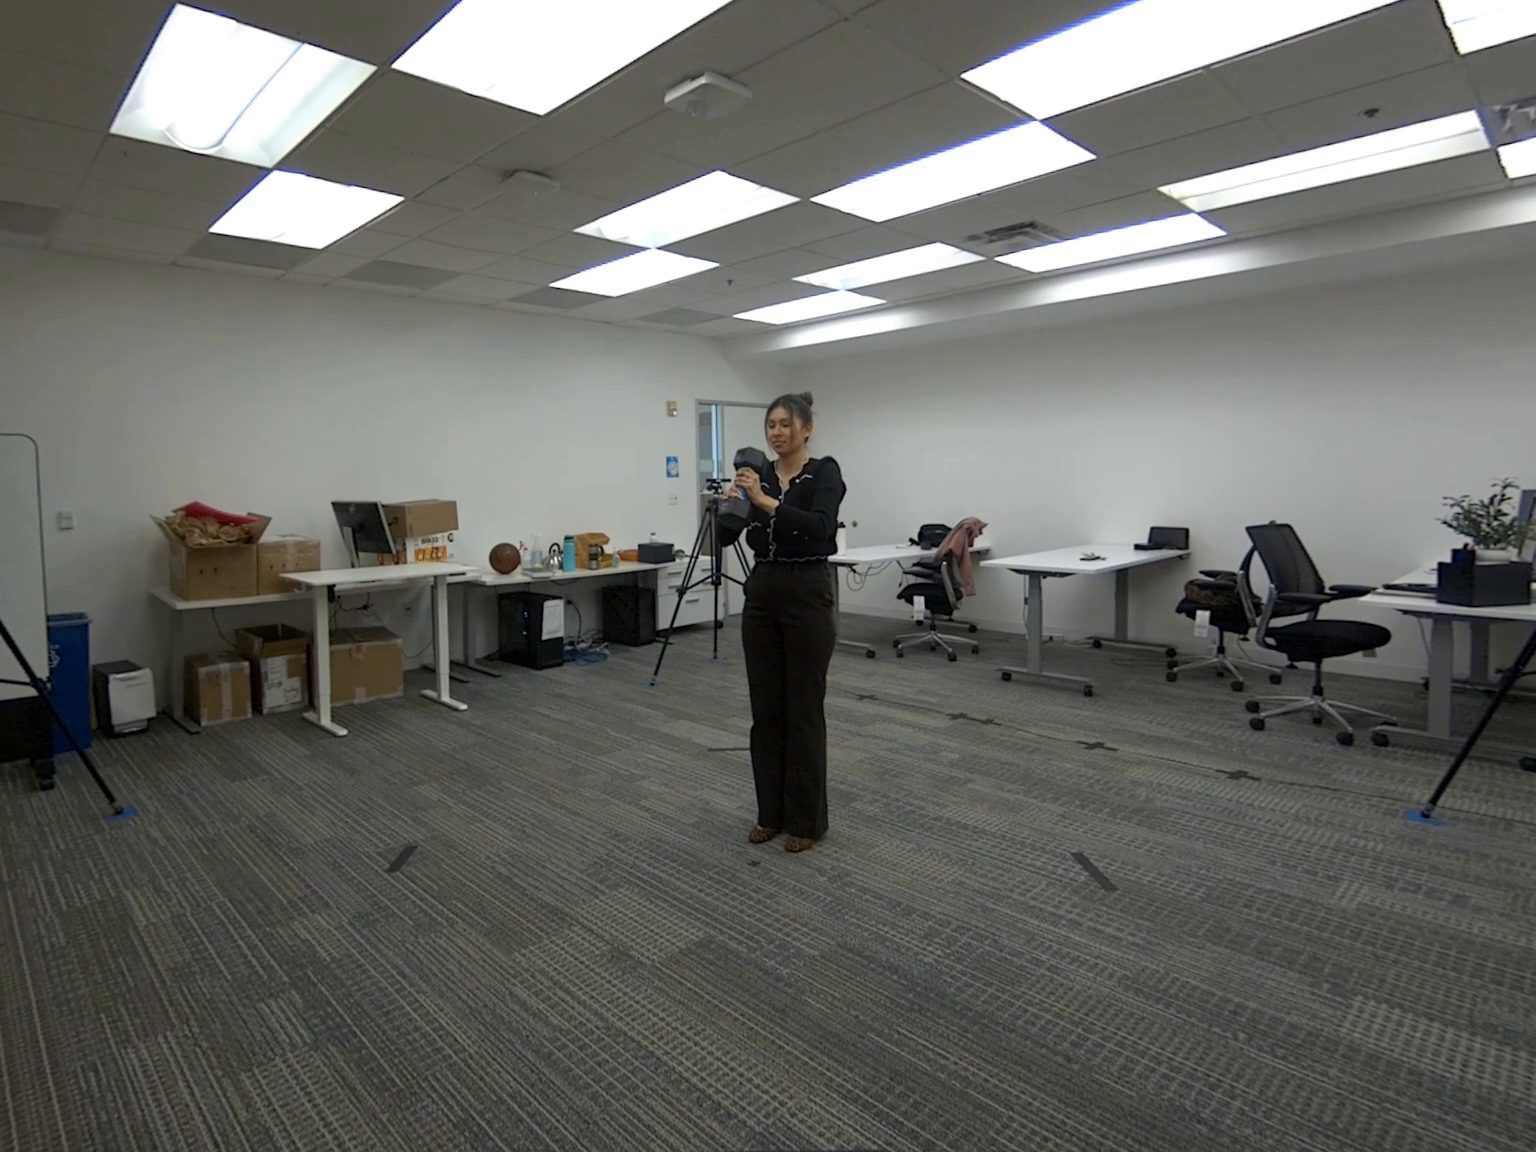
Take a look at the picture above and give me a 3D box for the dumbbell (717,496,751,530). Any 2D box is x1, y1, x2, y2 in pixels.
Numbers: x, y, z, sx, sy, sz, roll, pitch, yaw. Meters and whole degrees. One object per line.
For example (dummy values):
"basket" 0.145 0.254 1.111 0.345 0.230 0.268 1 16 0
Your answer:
"dumbbell" -0.083 -0.318 3.059 0.121 0.298 0.108 18 -25 -12
